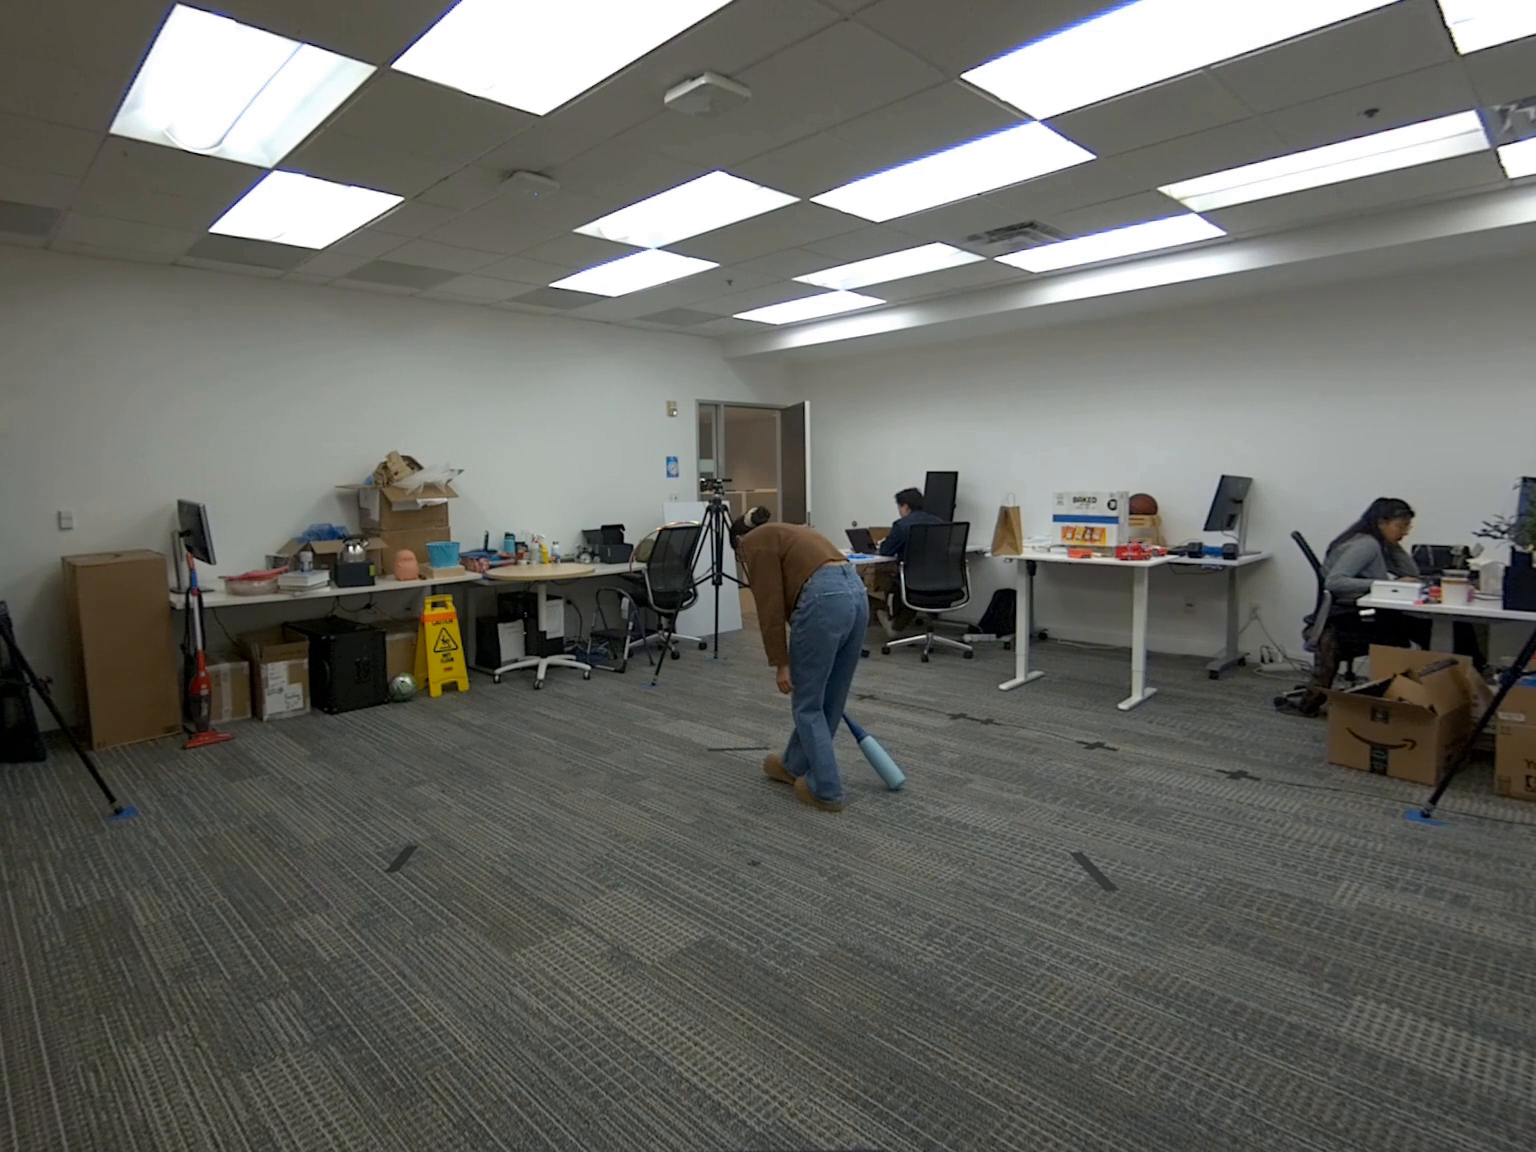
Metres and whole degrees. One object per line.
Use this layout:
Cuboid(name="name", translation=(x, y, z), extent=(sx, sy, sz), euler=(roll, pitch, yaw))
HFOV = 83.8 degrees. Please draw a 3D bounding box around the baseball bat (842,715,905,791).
Cuboid(name="baseball bat", translation=(0.421, 0.732, 3.912), extent=(0.087, 0.088, 0.560), euler=(-5, 49, -50))
